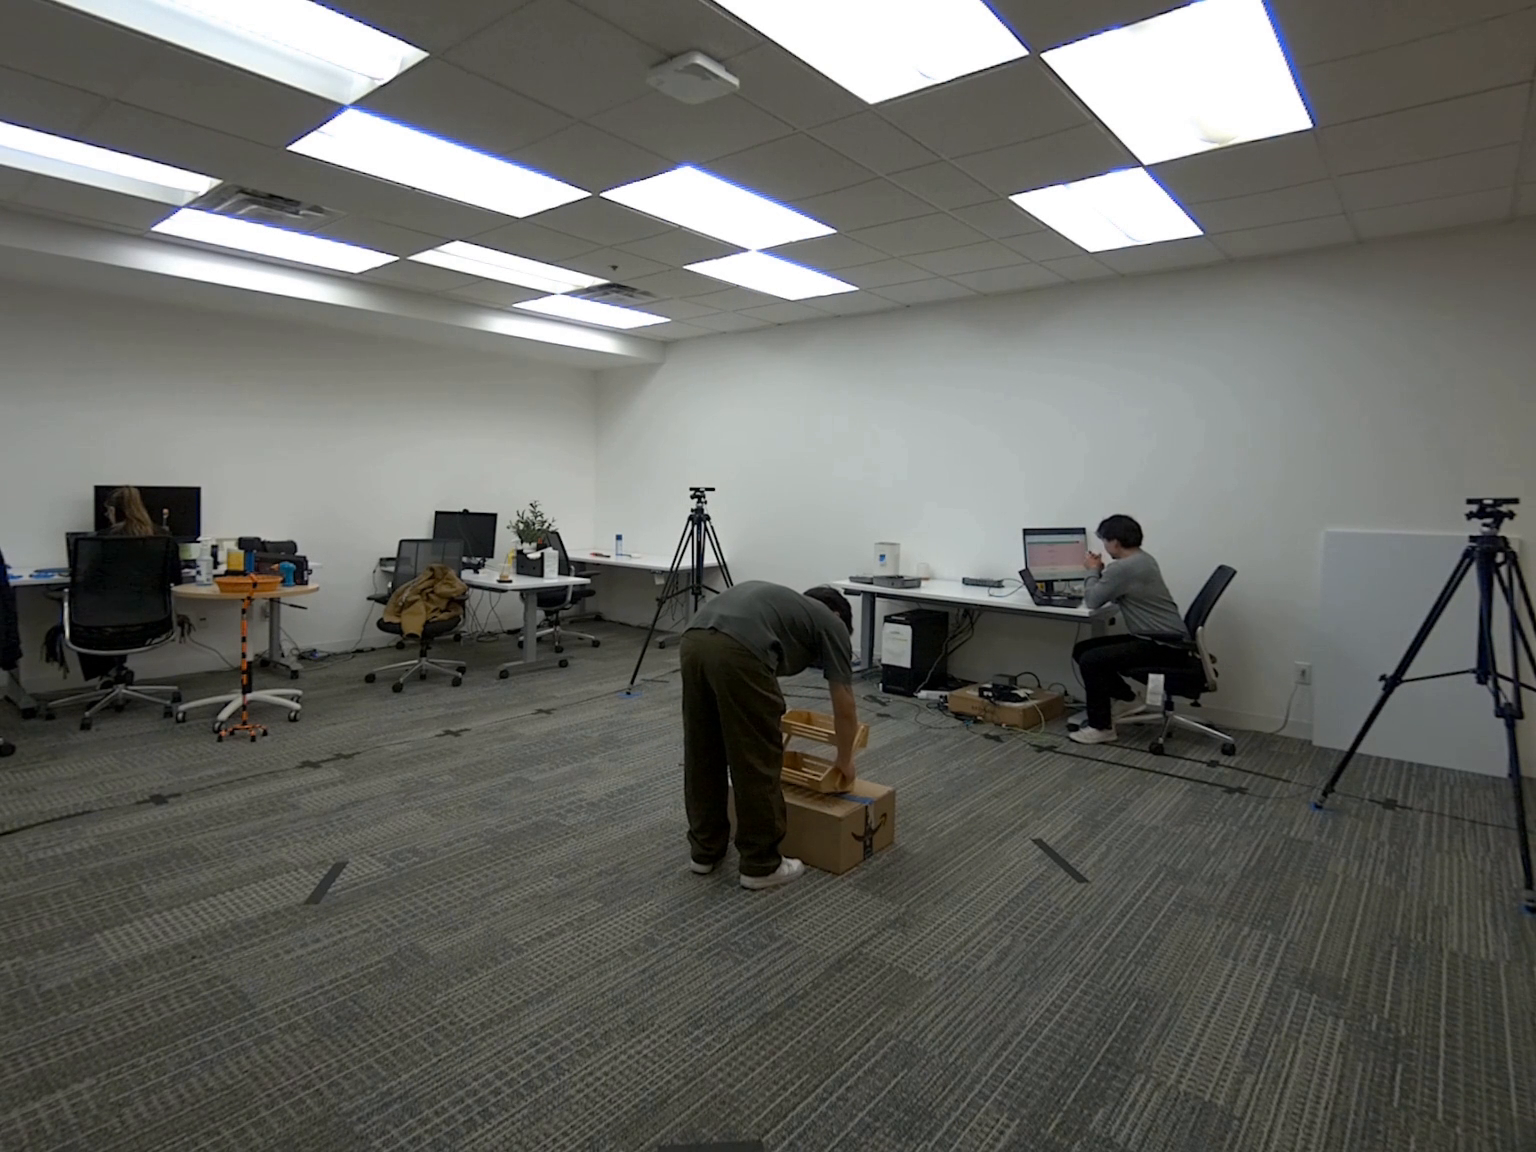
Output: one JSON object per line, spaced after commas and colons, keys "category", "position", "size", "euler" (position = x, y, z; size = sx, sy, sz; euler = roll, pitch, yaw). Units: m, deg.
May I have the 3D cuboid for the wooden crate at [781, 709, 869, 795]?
{"category": "wooden crate", "position": [0.179, 0.685, 3.409], "size": [0.335, 0.274, 0.290], "euler": [6, -6, 39]}
